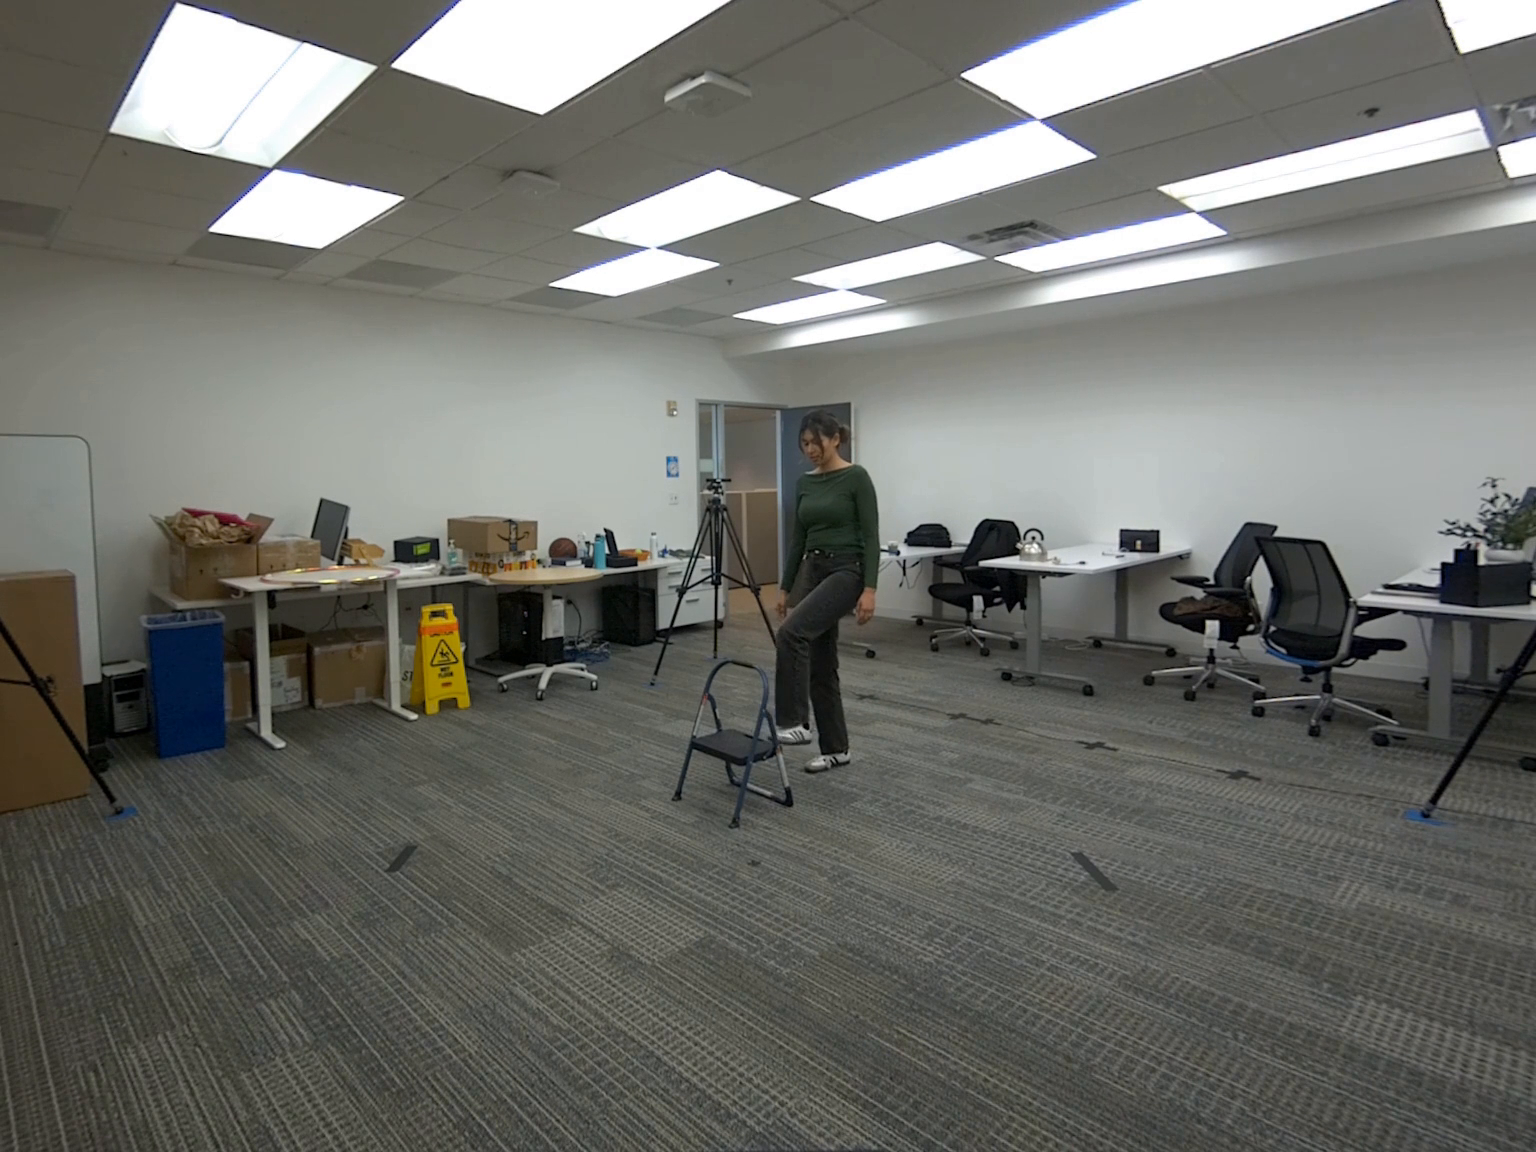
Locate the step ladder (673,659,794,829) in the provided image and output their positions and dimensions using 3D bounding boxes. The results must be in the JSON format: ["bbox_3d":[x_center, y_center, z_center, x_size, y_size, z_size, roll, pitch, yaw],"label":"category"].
[{"bbox_3d":[-0.156,0.678,3.670,0.340,0.604,0.444,-4,5,-41],"label":"step ladder"}]
